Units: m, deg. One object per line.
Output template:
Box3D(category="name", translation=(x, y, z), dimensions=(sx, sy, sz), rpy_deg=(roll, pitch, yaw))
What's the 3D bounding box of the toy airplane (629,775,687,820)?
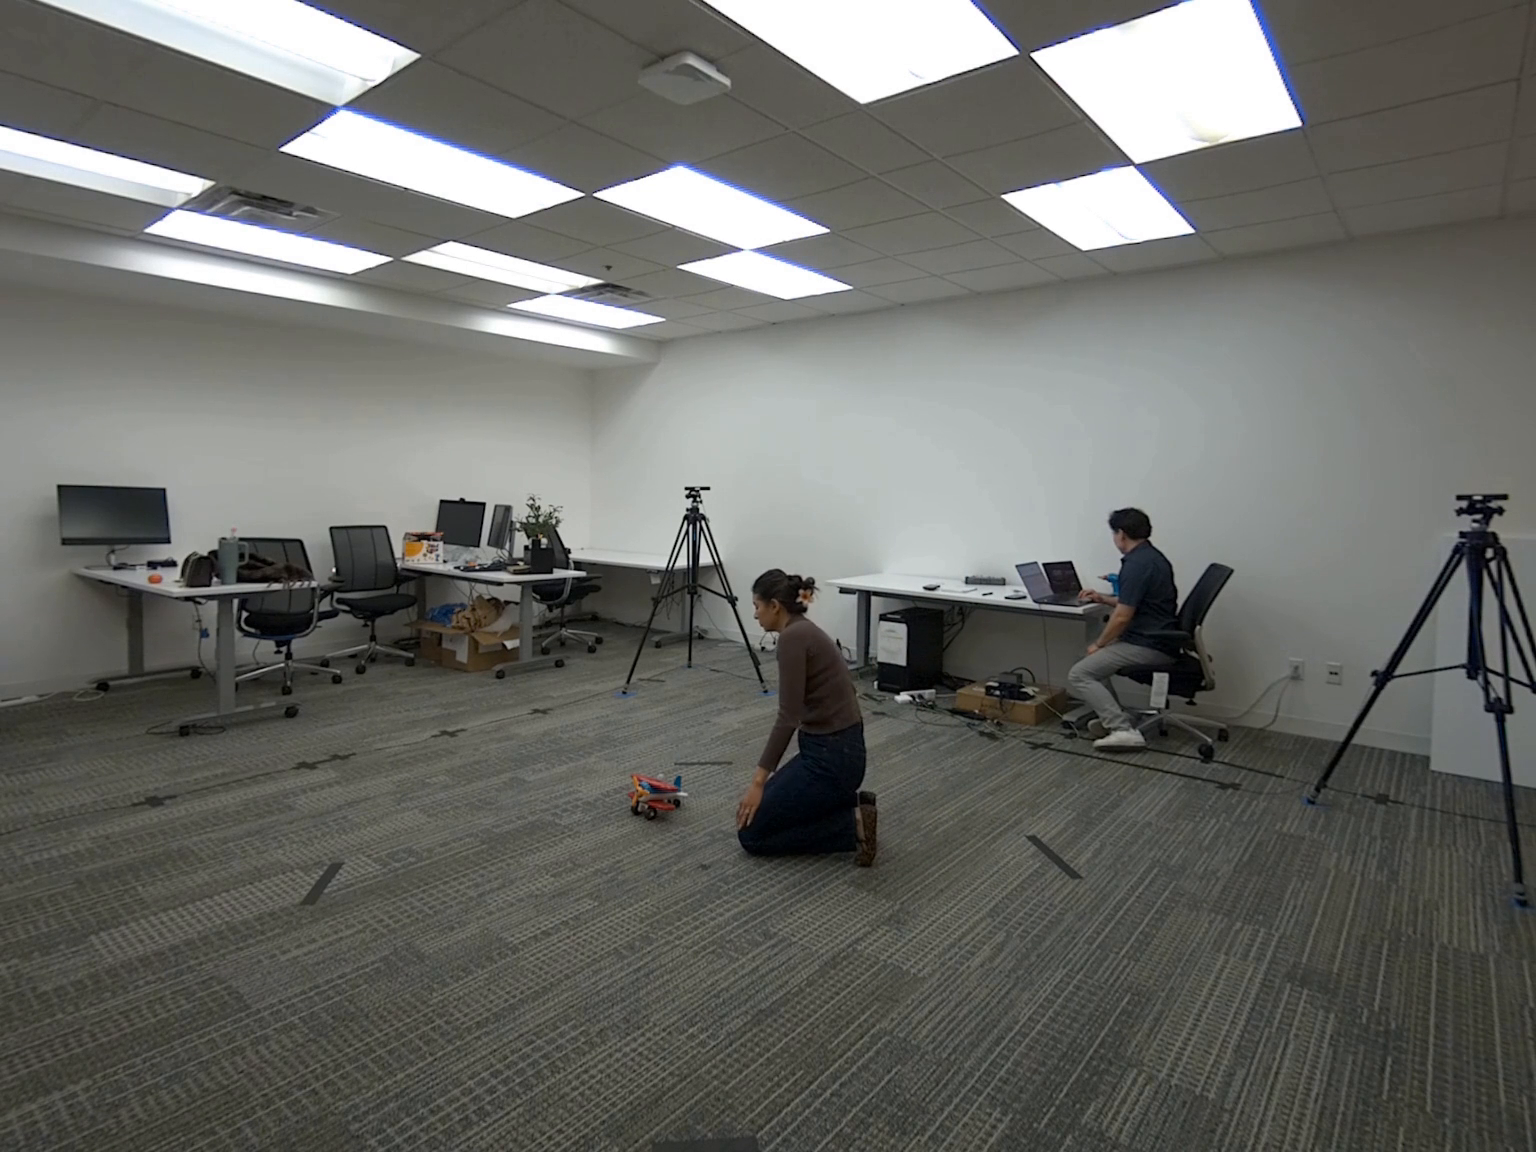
Box3D(category="toy airplane", translation=(-0.495, 0.936, 3.664), dimensions=(0.255, 0.155, 0.256), rpy_deg=(0, 7, 15))
